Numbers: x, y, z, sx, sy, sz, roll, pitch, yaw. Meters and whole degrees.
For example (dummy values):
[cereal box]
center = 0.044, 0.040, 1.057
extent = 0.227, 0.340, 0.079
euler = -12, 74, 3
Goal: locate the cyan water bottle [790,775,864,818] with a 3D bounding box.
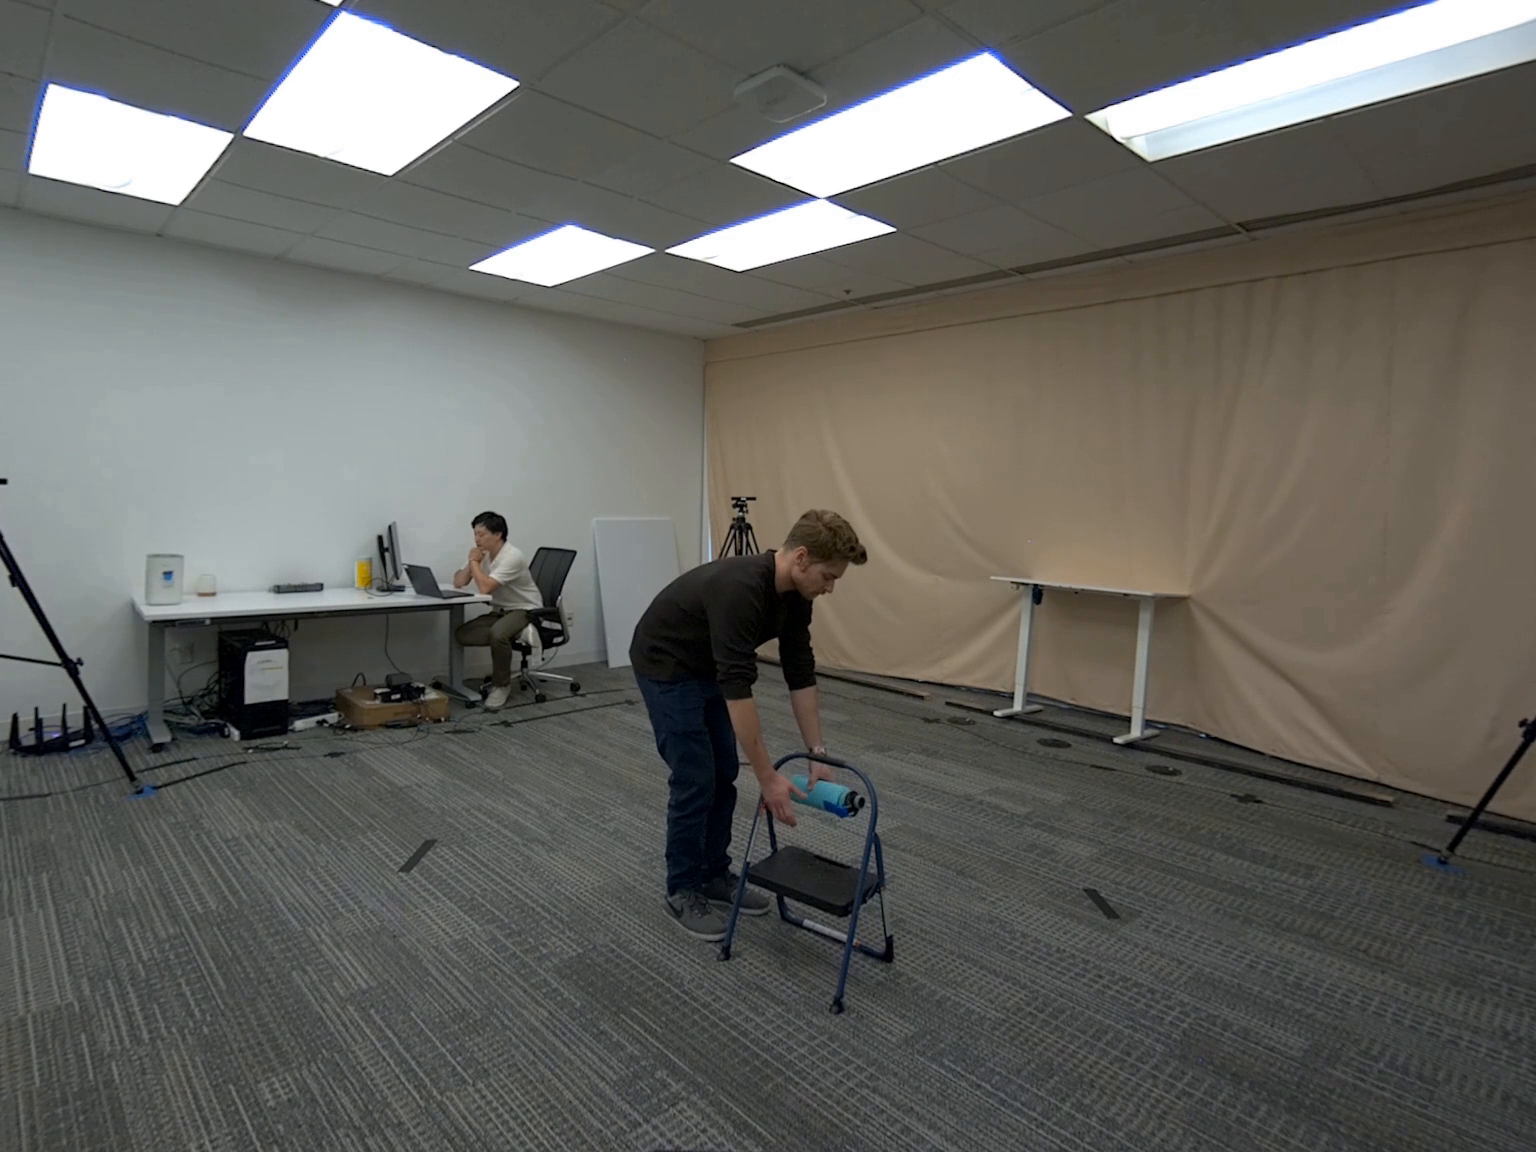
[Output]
[cyan water bottle]
center = 0.178, 0.696, 2.669
extent = 0.090, 0.092, 0.290
euler = -2, 2, -39
